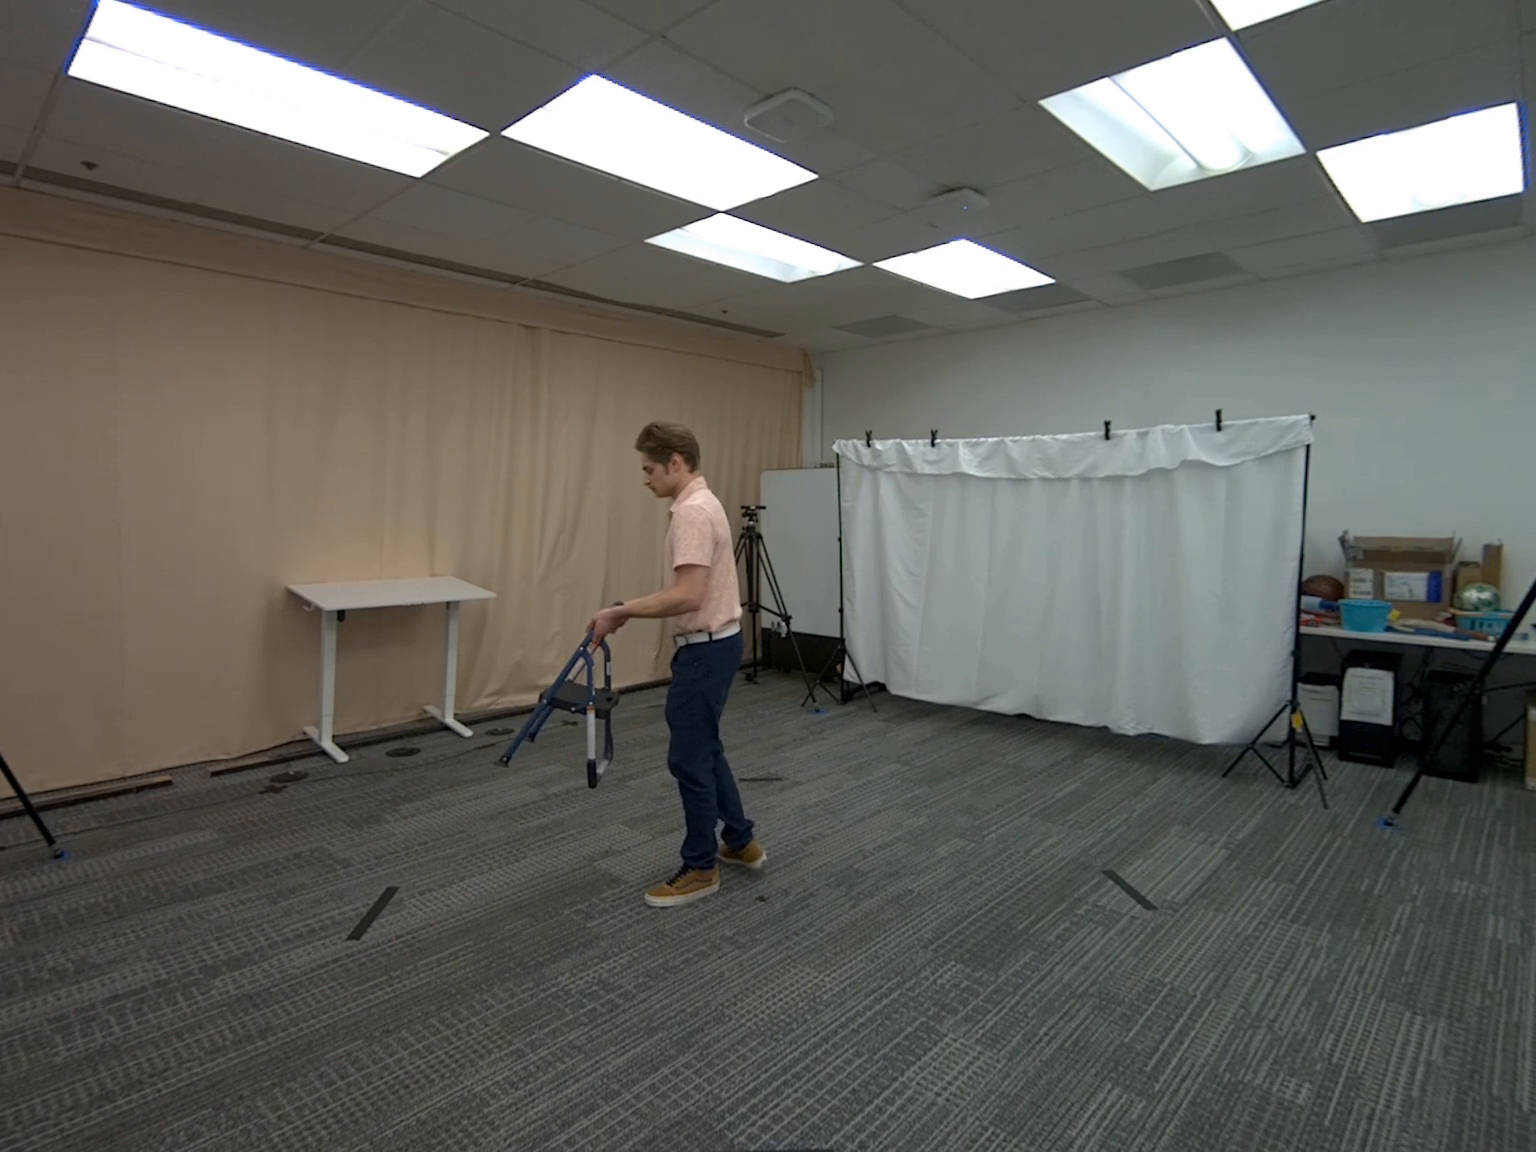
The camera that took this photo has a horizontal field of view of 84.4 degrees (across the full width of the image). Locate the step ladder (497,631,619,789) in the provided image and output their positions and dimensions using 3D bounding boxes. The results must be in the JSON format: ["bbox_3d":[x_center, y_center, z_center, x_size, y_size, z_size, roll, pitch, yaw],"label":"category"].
[{"bbox_3d":[-0.664,0.381,3.008,0.349,0.606,0.431,14,-1,-2],"label":"step ladder"}]
